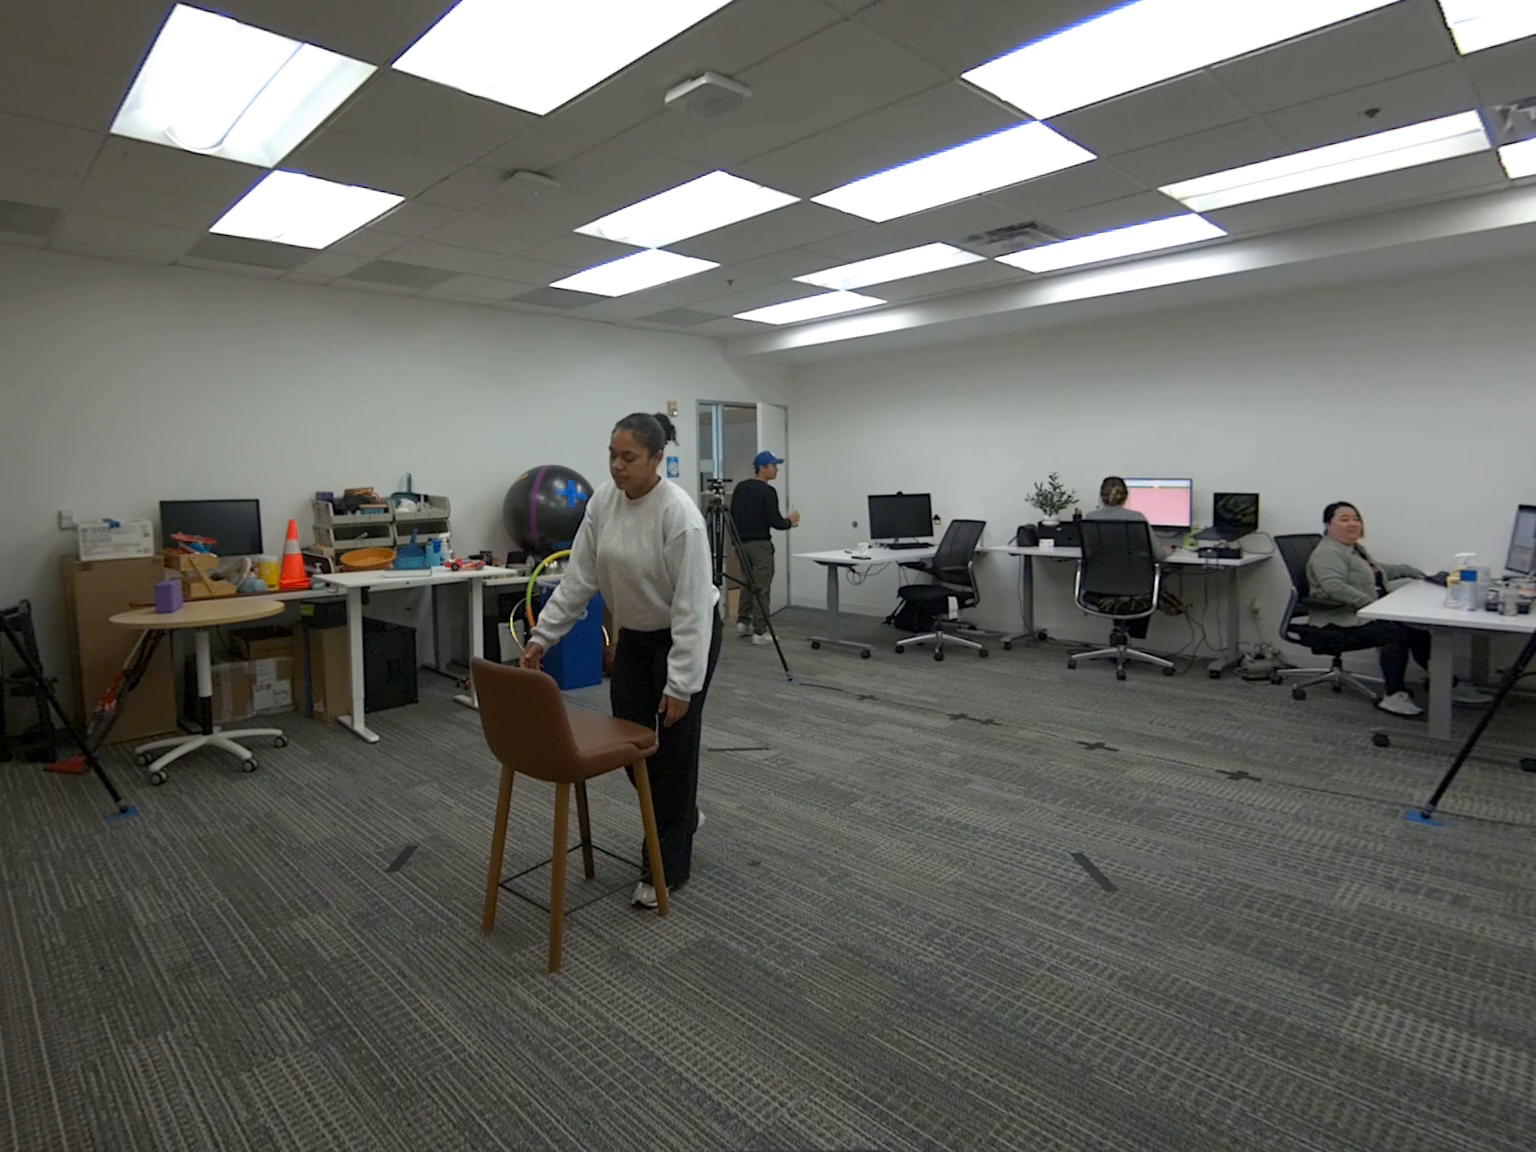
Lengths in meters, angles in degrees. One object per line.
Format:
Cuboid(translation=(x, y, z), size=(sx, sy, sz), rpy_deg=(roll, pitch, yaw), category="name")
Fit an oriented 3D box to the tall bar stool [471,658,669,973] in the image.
Cuboid(translation=(-0.620, 0.662, 2.693), size=(0.470, 0.885, 0.456), rpy_deg=(3, 8, 41), category="tall bar stool")
